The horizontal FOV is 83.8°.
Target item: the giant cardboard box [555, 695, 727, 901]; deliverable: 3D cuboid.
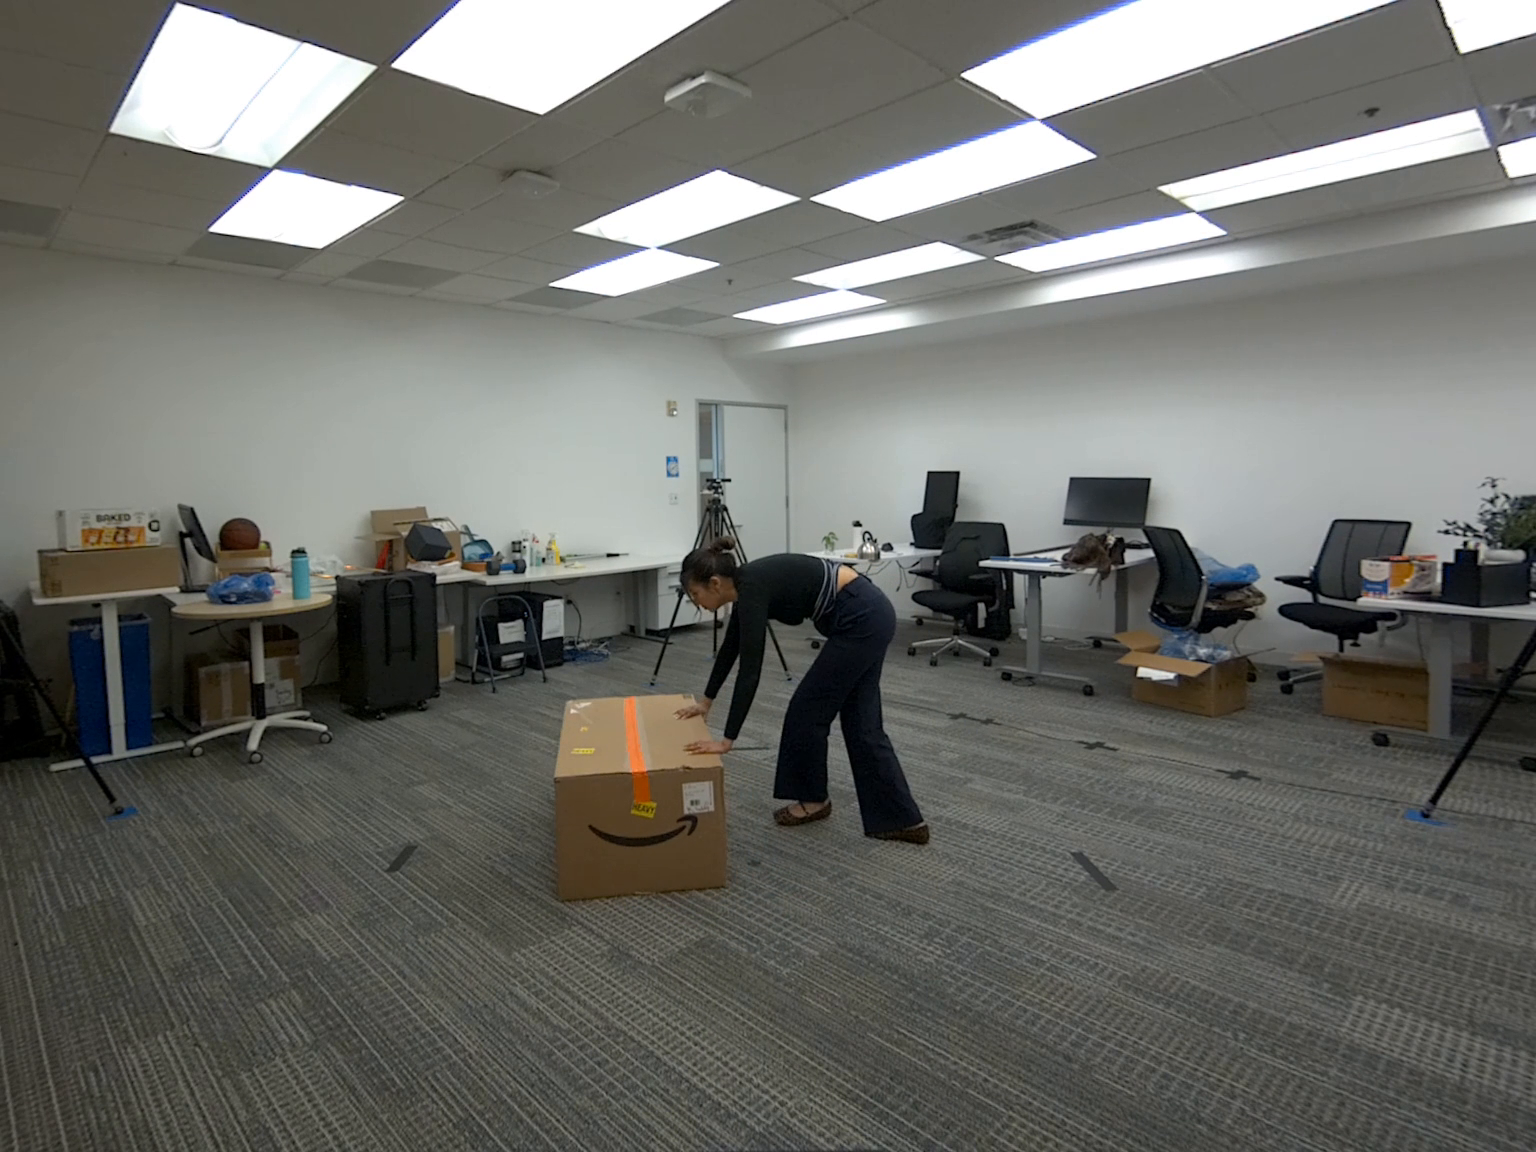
[{"bbox_3d":[-0.524,0.809,3.374,0.572,0.424,1.040,-1,6,-11],"label":"giant cardboard box"}]
